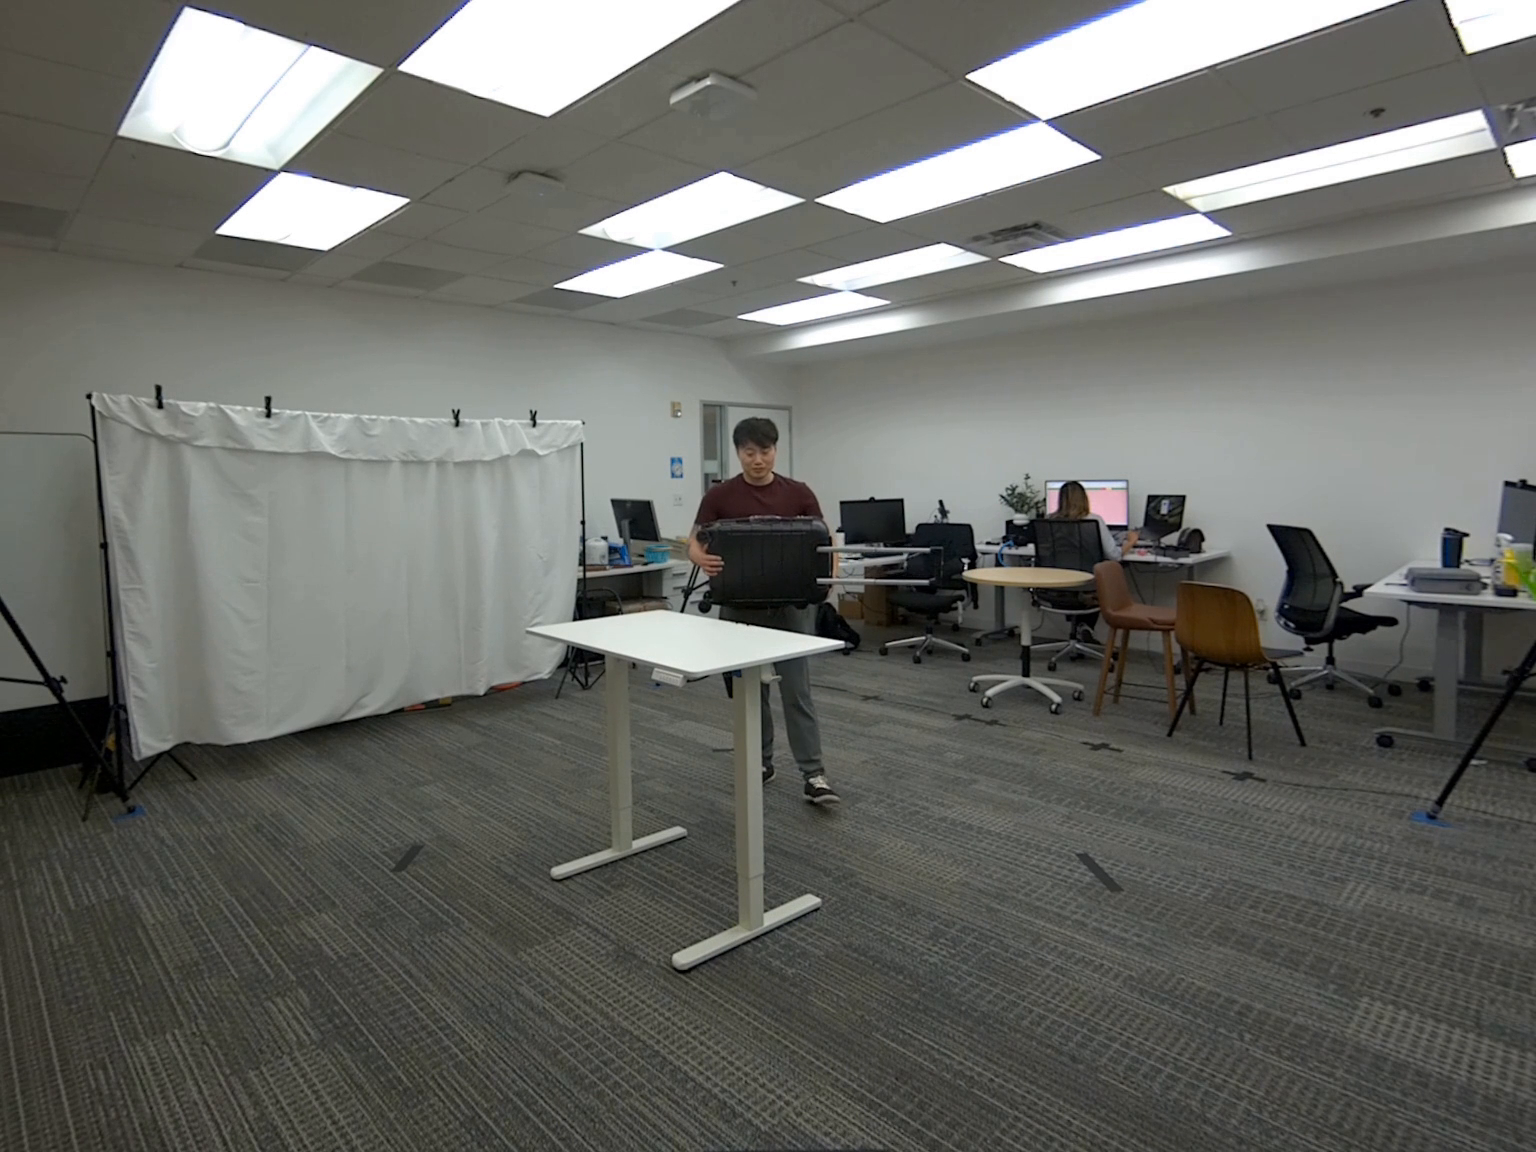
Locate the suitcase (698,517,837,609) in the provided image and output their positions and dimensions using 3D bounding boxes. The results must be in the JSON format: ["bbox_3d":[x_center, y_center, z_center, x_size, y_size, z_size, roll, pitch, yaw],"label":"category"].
[{"bbox_3d":[0.196,-0.059,3.553,0.980,0.382,0.258,-1,7,2],"label":"suitcase"}]
